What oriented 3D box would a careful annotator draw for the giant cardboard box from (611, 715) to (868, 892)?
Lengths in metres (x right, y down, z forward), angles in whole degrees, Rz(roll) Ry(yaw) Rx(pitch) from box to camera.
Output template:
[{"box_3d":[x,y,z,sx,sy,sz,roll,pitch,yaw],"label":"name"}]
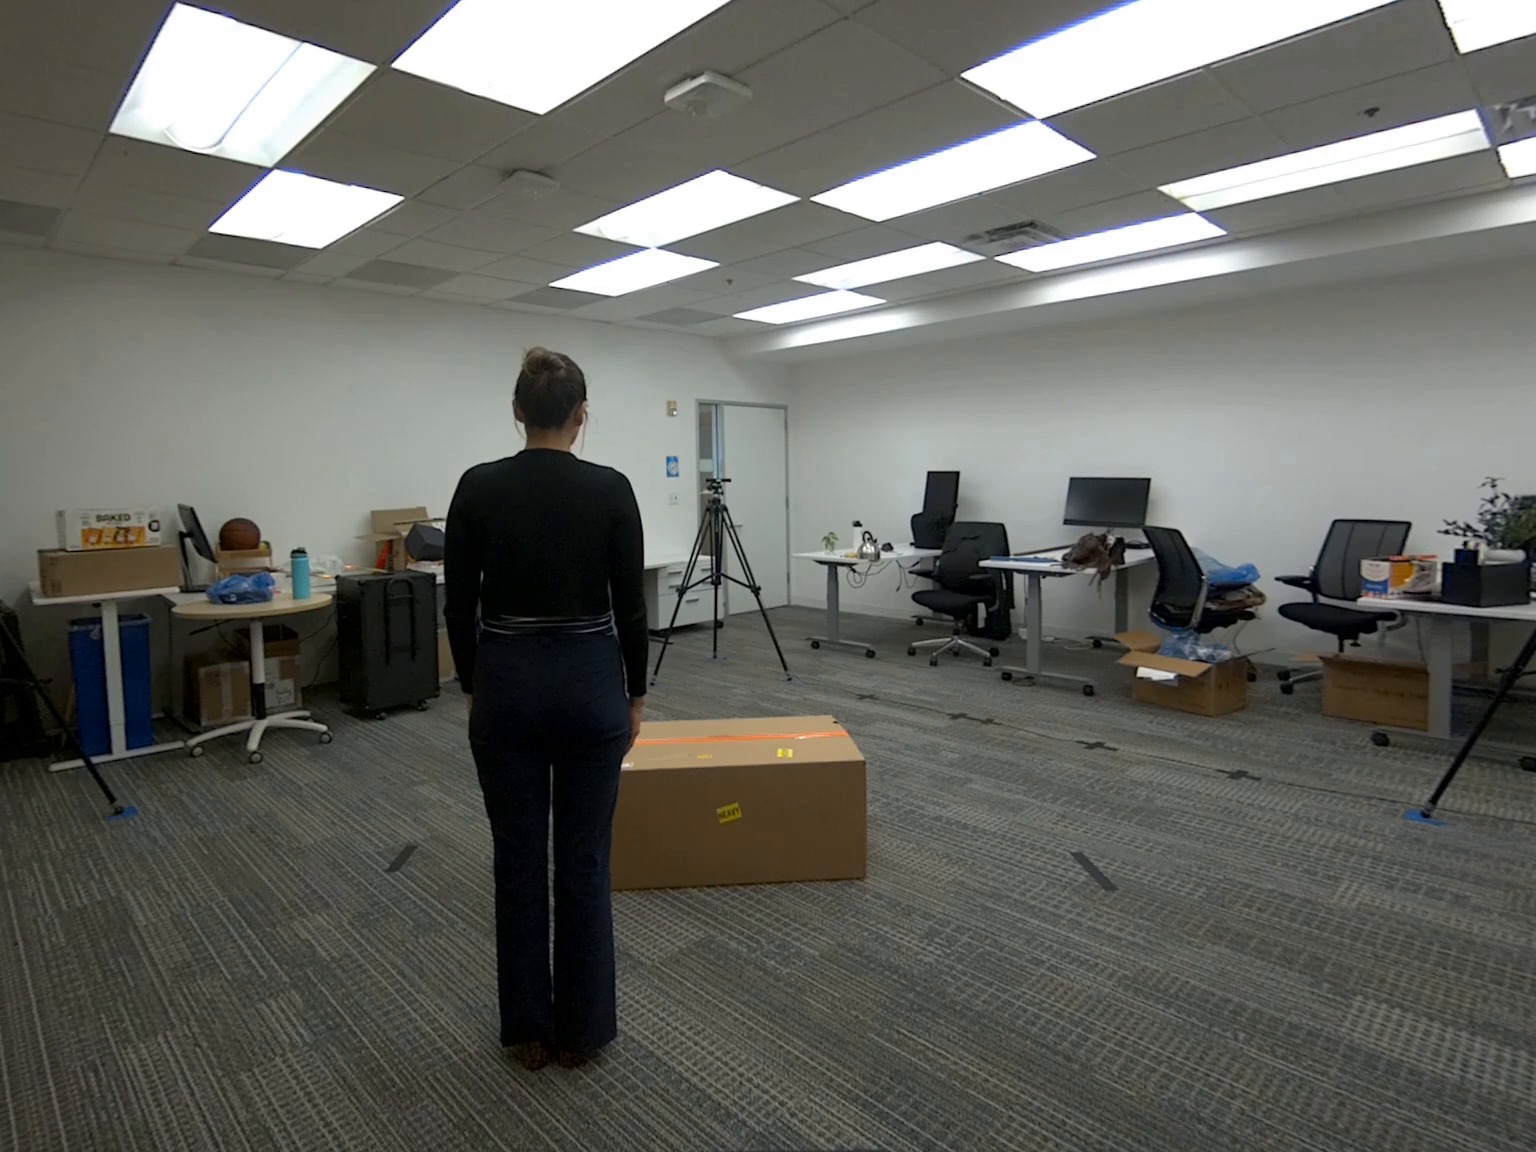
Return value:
[{"box_3d":[-0.201,0.817,3.205,1.021,0.424,0.583,-2,6,-5],"label":"giant cardboard box"}]
